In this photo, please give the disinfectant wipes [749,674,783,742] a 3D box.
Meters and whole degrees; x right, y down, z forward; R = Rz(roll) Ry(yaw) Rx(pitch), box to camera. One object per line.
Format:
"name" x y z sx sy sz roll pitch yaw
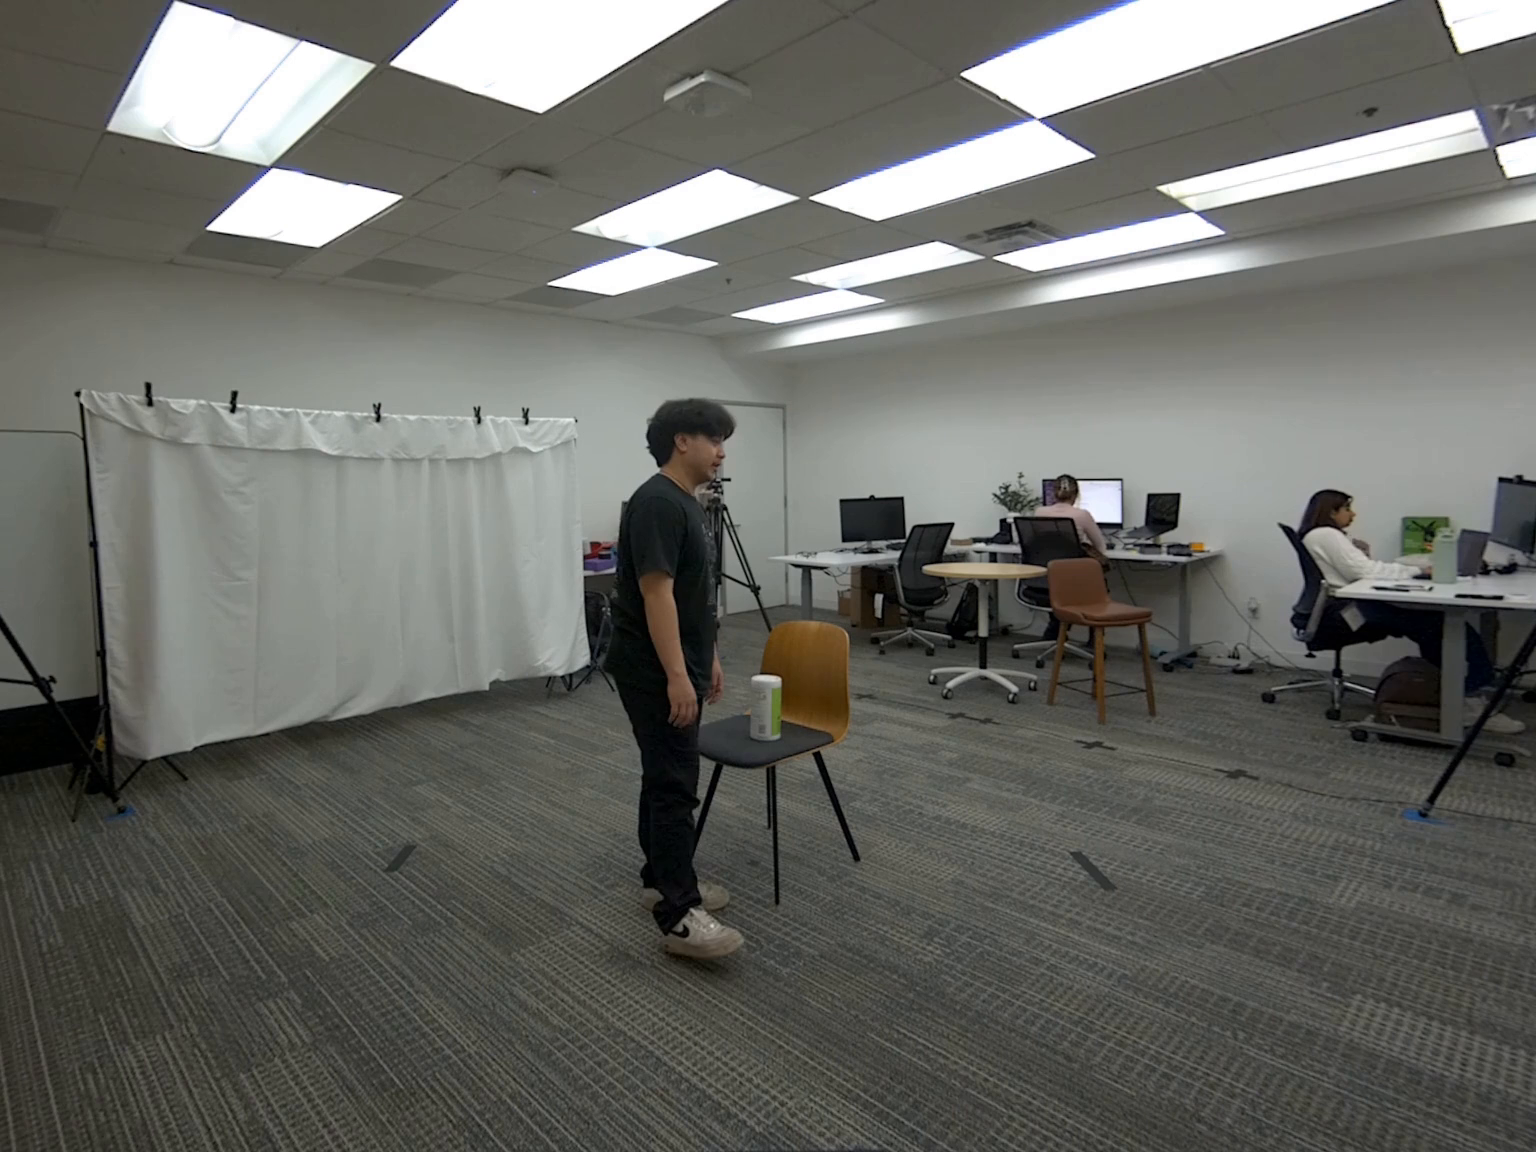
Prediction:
"disinfectant wipes" -0.005 0.469 3.038 0.118 0.217 0.118 2 2 -2
